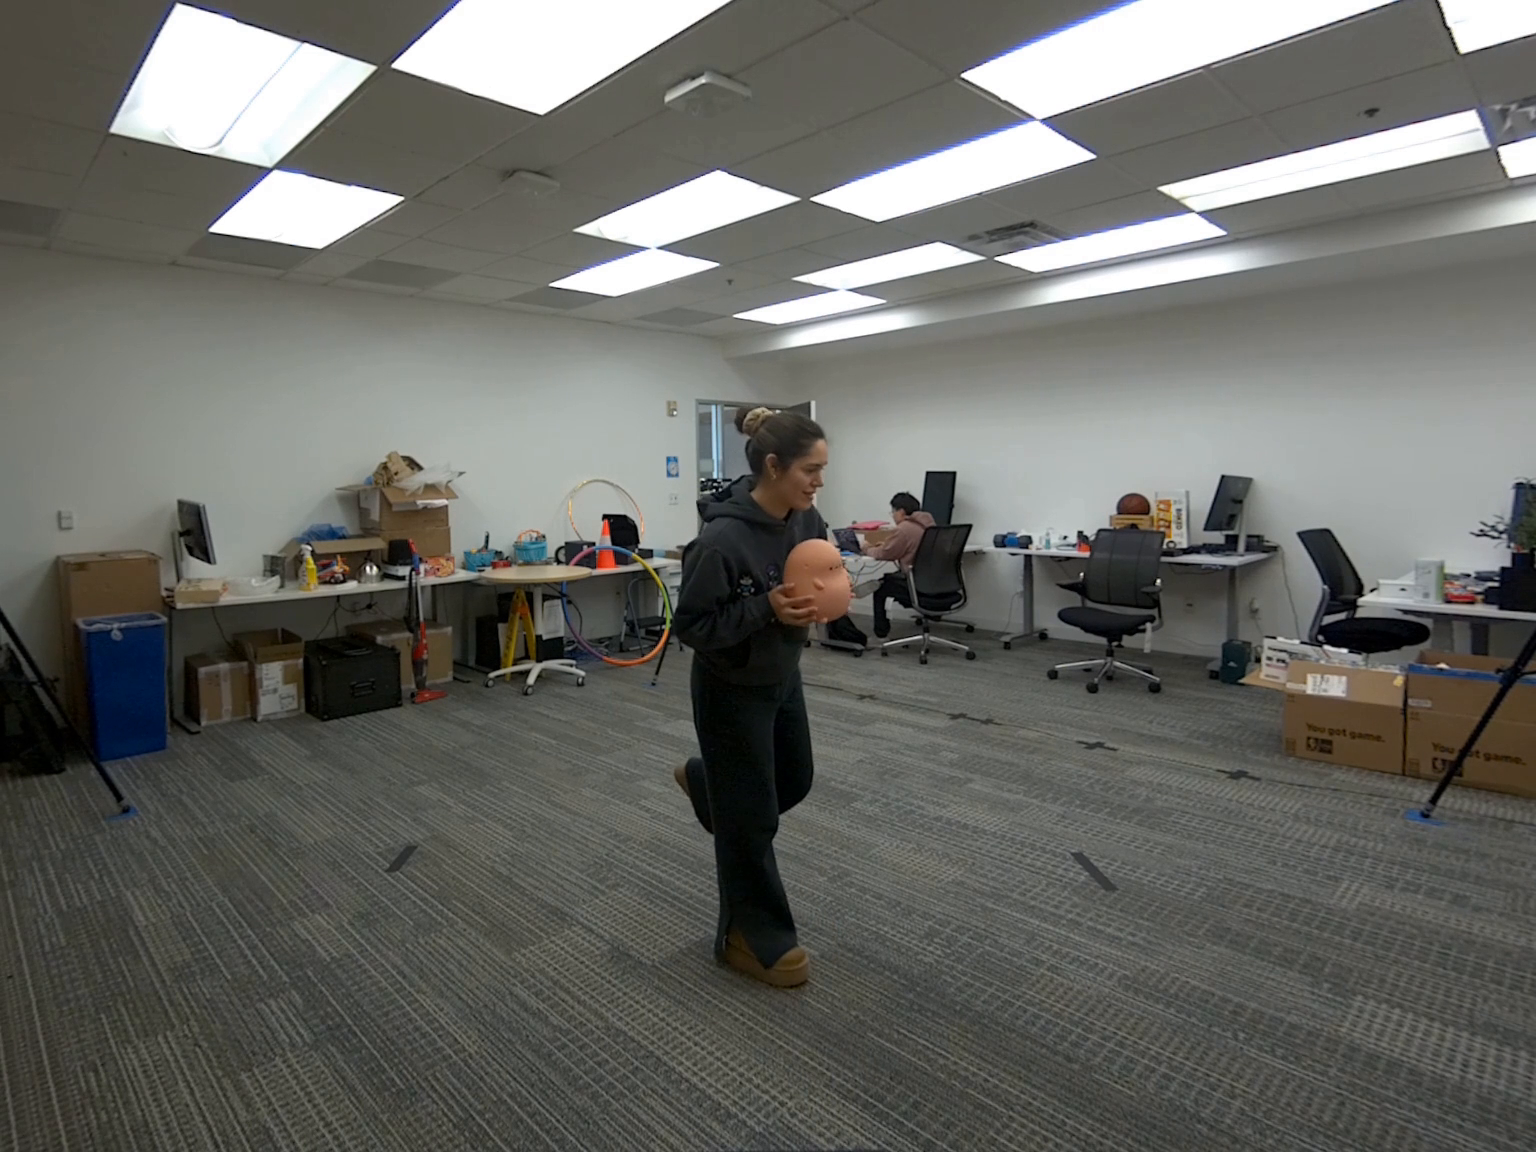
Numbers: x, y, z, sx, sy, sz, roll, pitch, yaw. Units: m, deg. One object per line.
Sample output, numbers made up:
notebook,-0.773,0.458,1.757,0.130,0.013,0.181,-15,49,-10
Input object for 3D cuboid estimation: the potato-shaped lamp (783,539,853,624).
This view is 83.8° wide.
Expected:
potato-shaped lamp,0.115,0.005,2.147,0.177,0.195,0.161,14,20,42
